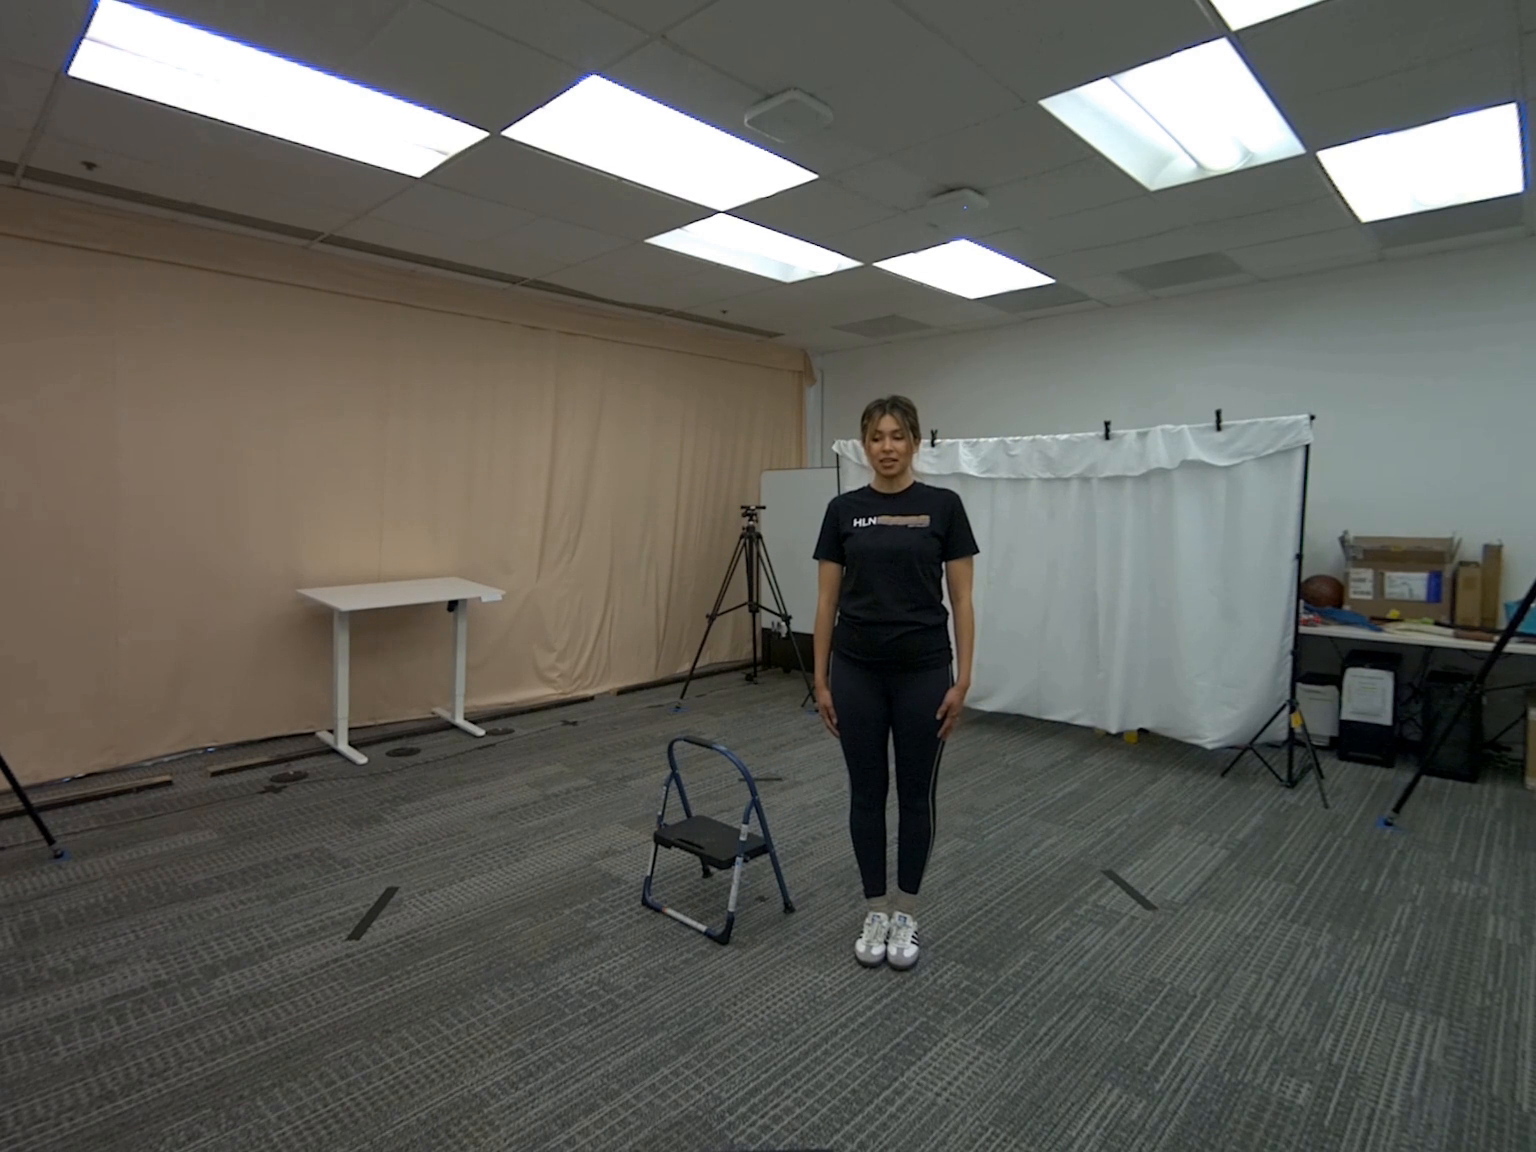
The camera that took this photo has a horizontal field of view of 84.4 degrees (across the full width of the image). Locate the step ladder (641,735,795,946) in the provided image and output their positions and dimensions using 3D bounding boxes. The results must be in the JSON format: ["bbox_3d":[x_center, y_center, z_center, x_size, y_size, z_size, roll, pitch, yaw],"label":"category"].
[{"bbox_3d":[-0.180,0.847,2.909,0.445,0.605,0.338,3,4,42],"label":"step ladder"}]
